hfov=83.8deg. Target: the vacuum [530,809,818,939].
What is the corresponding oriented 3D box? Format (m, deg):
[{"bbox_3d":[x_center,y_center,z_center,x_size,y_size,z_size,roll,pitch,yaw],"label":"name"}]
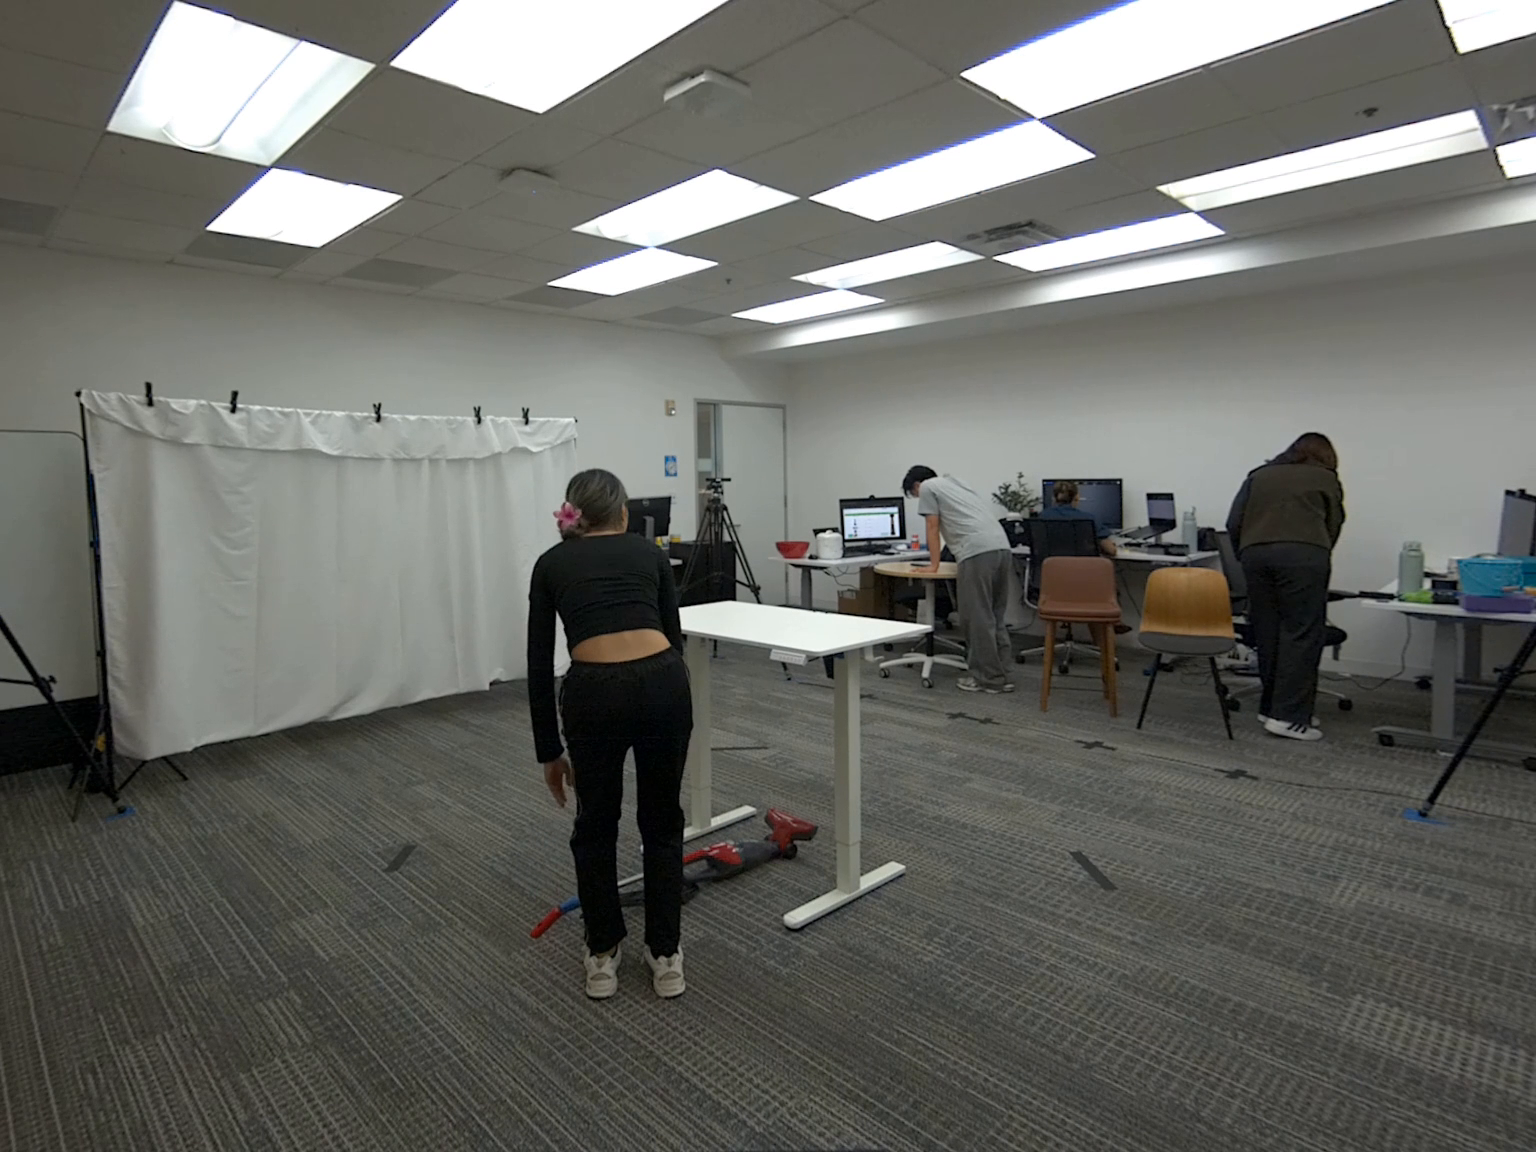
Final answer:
[{"bbox_3d":[-0.307,1.024,2.862,1.023,0.143,0.260,-8,9,-41],"label":"vacuum"}]
